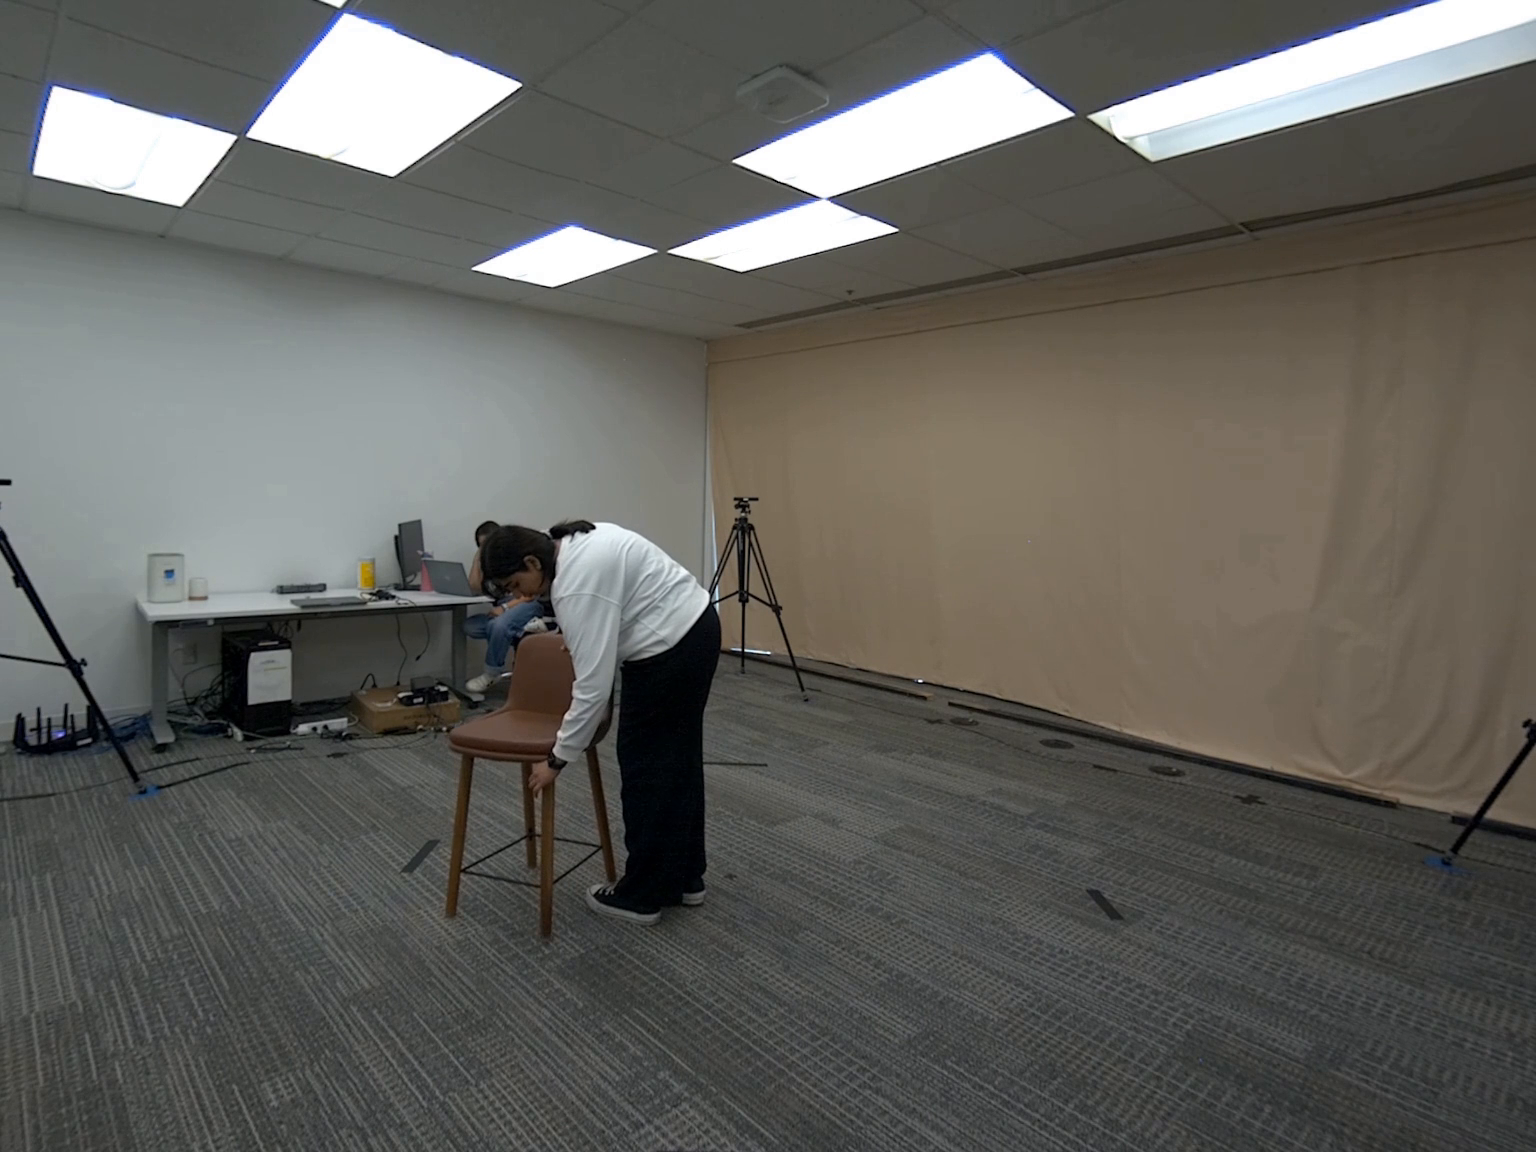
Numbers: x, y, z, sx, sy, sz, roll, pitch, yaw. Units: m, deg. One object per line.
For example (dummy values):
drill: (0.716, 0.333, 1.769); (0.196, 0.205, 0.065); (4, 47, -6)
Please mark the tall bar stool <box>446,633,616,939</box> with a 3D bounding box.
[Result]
tall bar stool: (-0.796, 0.672, 2.880); (0.464, 0.889, 0.460); (1, 1, 22)
